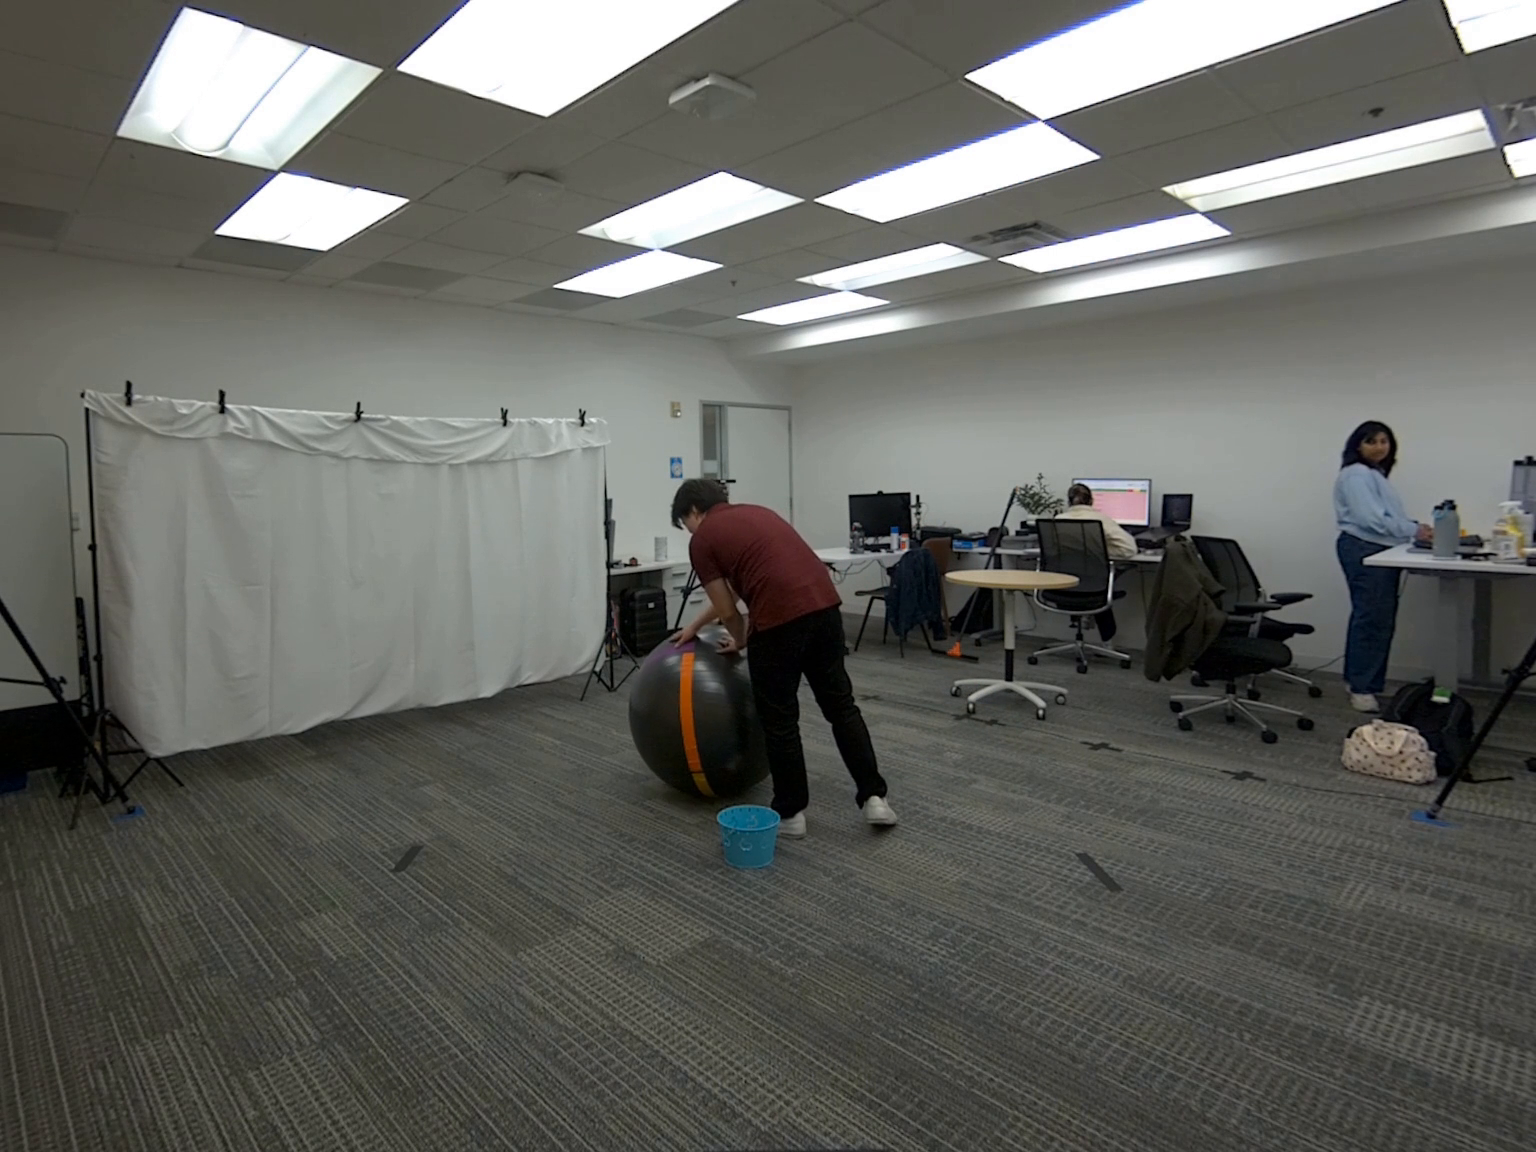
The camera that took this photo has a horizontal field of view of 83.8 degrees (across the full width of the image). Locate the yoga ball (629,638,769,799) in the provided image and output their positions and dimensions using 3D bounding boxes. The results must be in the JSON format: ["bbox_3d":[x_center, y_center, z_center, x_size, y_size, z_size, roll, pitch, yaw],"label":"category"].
[{"bbox_3d":[-0.254,0.610,3.866,0.757,0.755,0.762,-1,5,-2],"label":"yoga ball"}]
